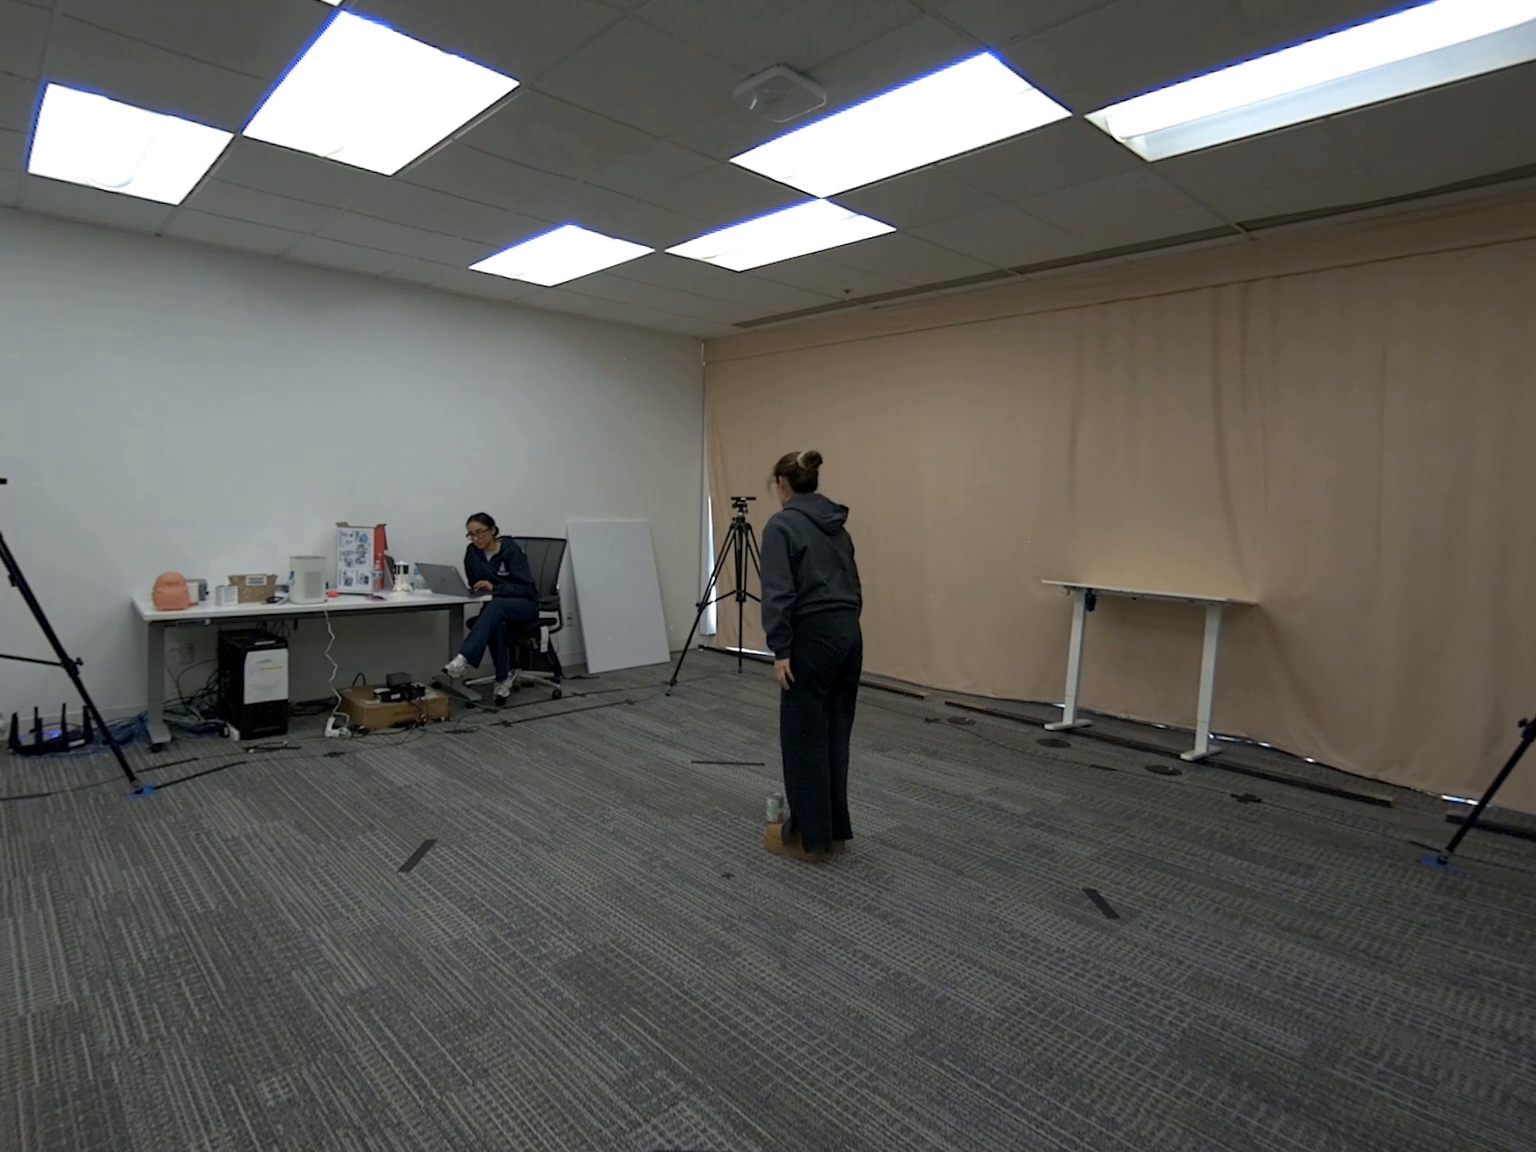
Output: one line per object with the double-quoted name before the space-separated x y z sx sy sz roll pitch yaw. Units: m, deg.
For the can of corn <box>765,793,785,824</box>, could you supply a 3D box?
"can of corn" 0.019 1.005 3.681 0.074 0.110 0.074 2 5 -2
